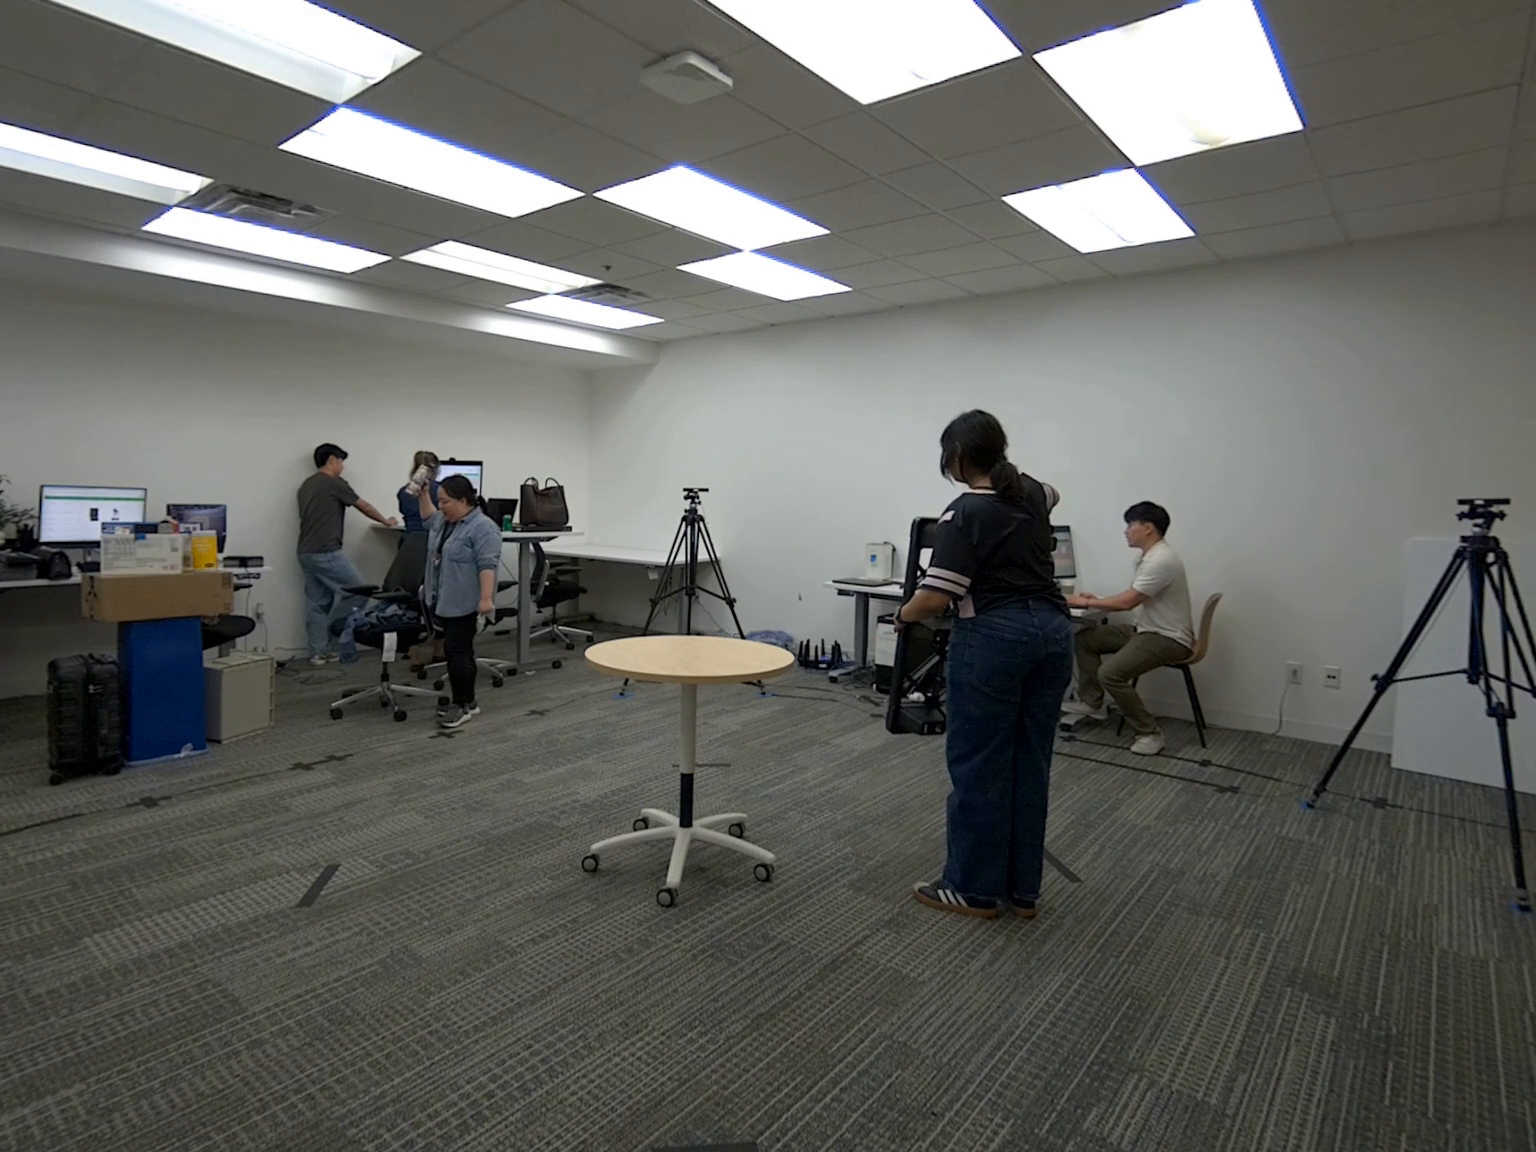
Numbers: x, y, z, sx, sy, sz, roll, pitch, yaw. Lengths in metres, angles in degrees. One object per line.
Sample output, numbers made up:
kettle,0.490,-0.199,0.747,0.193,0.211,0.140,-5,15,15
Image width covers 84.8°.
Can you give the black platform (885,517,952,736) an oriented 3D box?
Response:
black platform,0.765,0.196,3.109,0.593,0.799,0.147,0,10,-20
